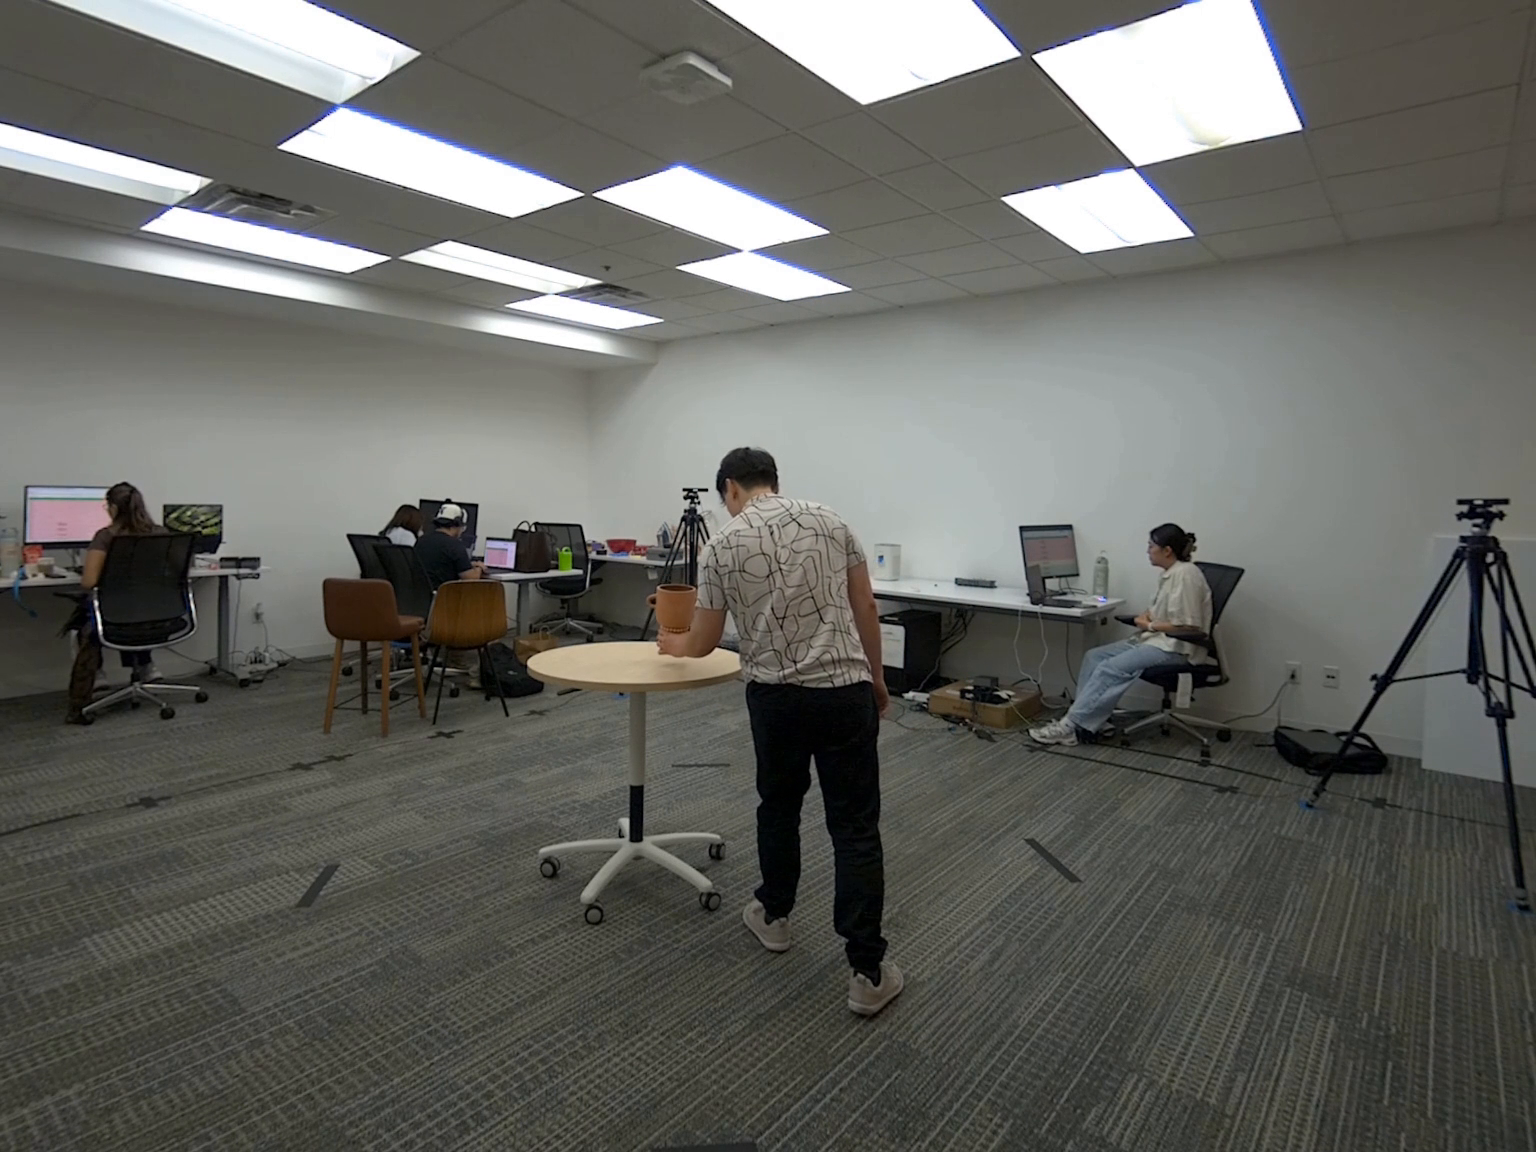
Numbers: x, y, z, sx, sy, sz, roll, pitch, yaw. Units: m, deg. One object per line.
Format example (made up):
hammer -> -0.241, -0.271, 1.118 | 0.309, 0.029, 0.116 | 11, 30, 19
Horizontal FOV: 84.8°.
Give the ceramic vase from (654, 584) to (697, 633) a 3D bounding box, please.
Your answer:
ceramic vase -> -0.329, 0.141, 2.905 | 0.164, 0.218, 0.131 | 8, 9, 34
